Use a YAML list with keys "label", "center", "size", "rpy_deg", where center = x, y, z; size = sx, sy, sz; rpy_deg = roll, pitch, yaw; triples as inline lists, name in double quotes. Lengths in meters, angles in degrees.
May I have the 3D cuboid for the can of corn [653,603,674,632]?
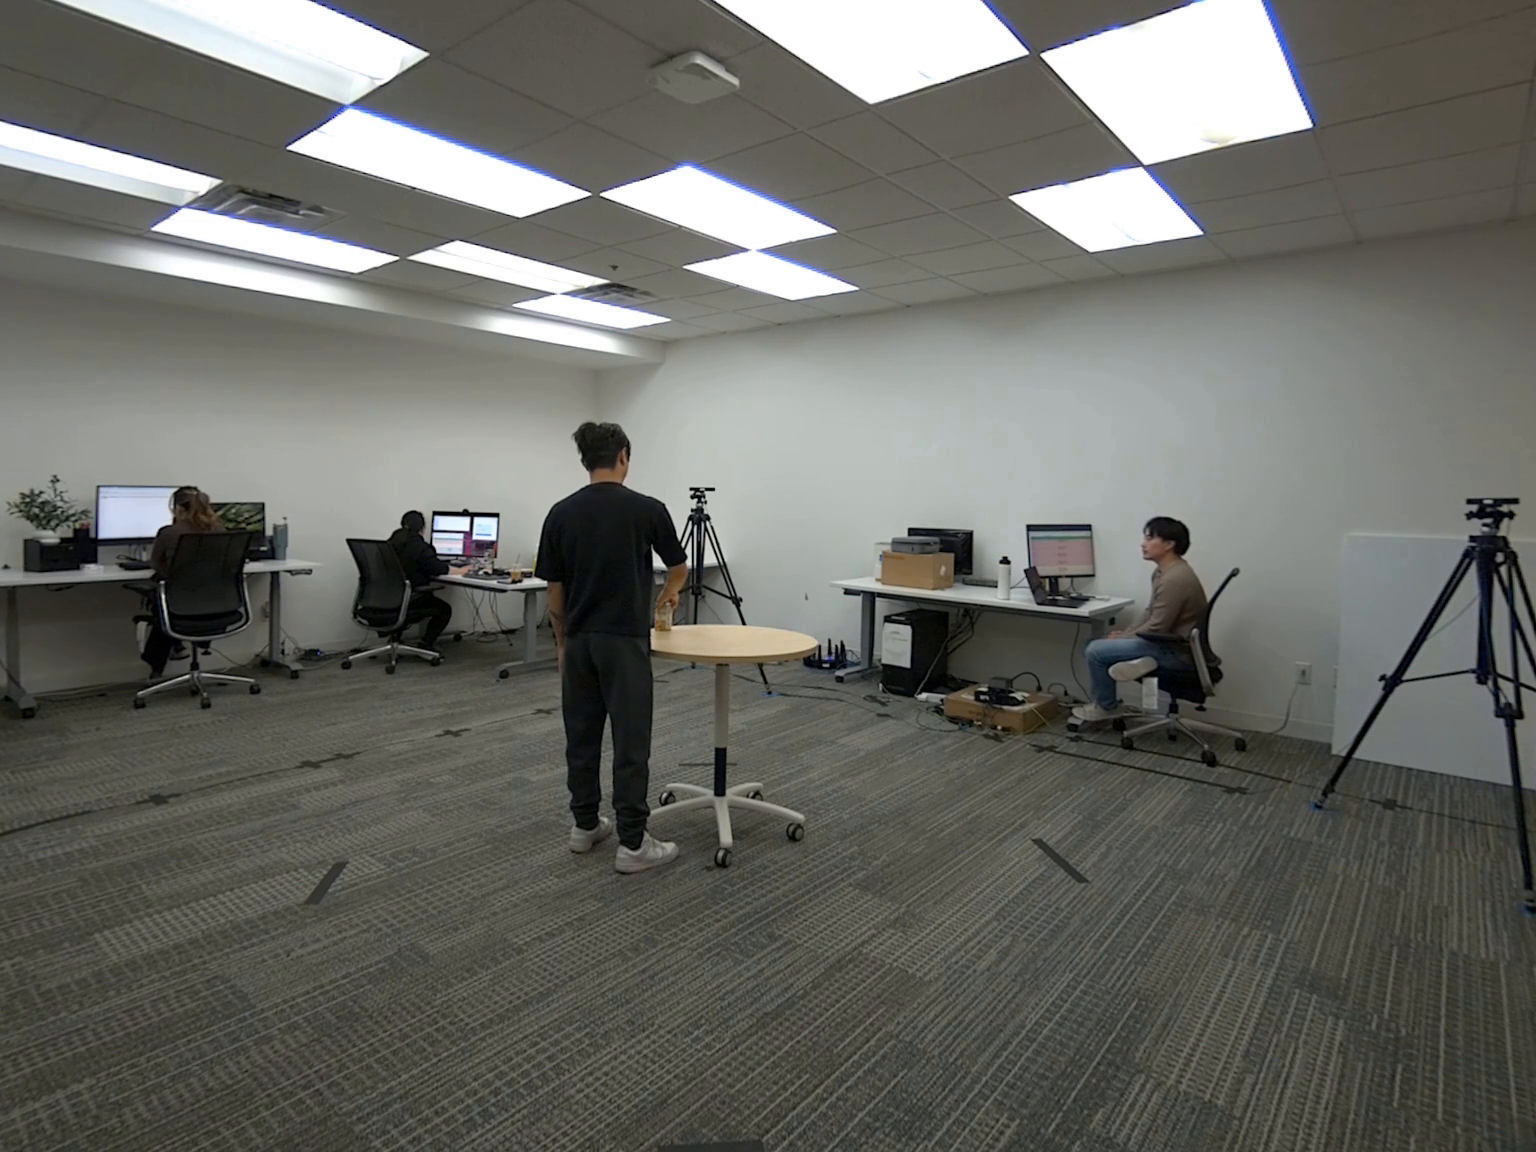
- label: "can of corn"
  center: [-0.463, 0.168, 3.648]
  size: [0.074, 0.110, 0.075]
  rpy_deg: [1, 9, -2]
